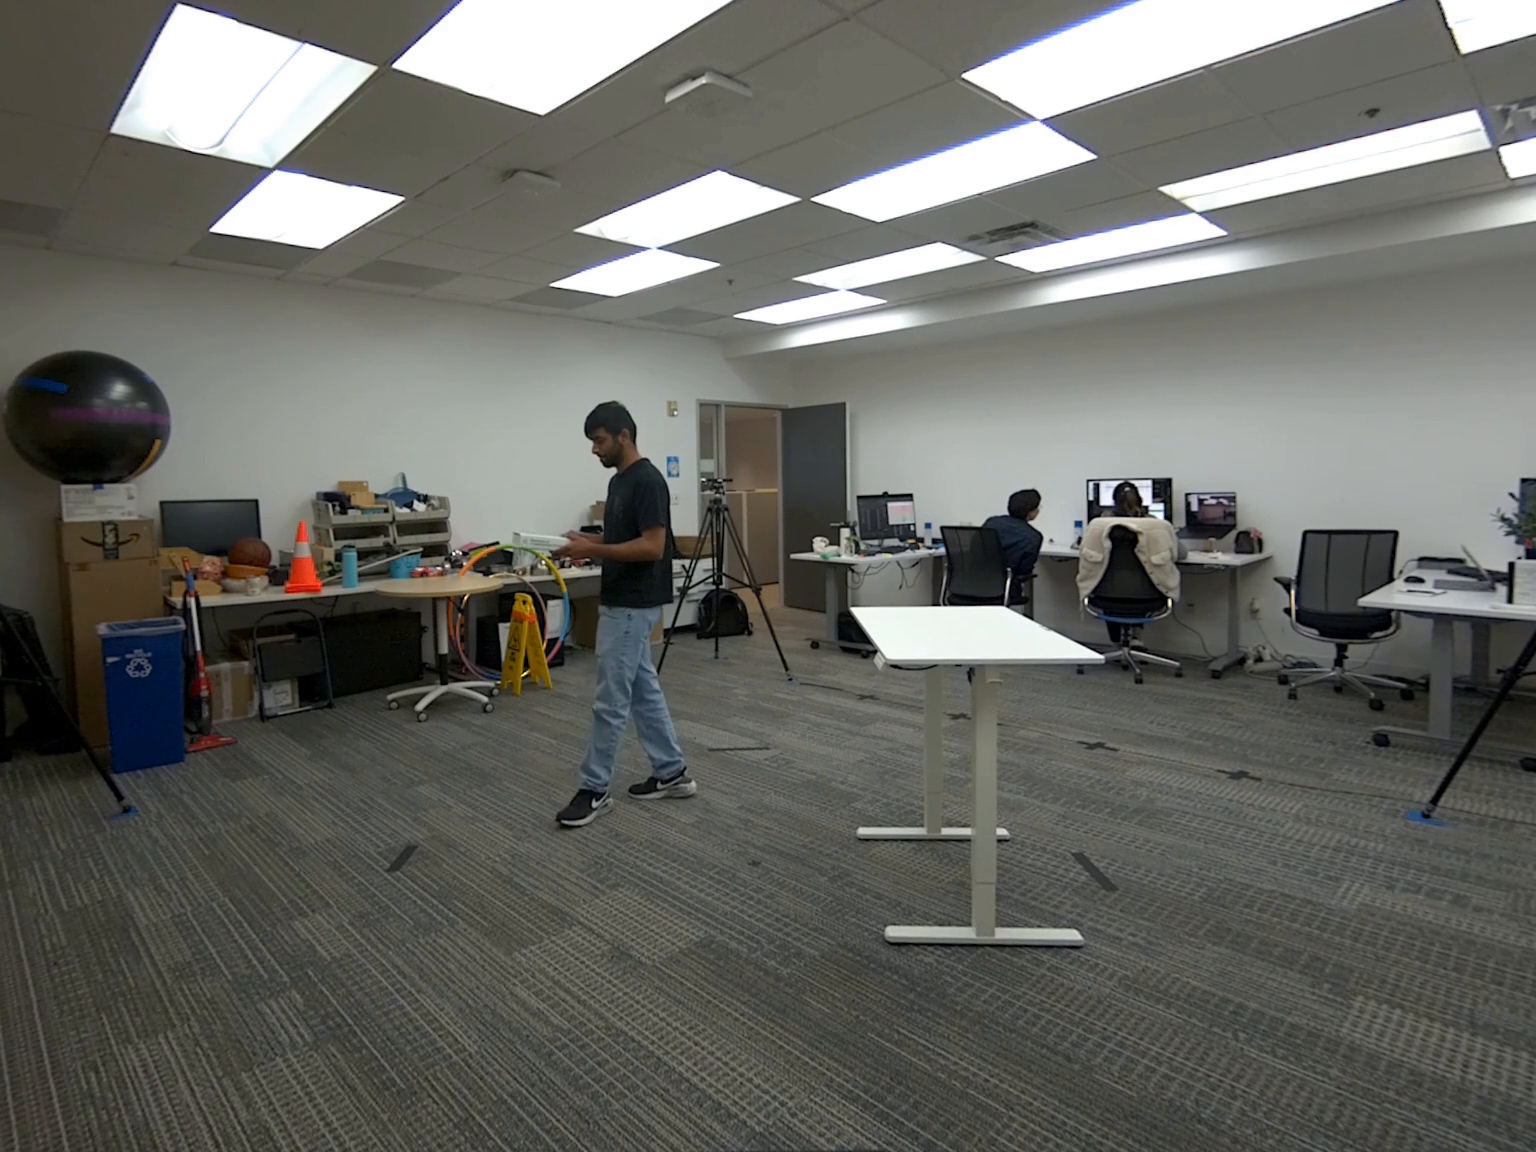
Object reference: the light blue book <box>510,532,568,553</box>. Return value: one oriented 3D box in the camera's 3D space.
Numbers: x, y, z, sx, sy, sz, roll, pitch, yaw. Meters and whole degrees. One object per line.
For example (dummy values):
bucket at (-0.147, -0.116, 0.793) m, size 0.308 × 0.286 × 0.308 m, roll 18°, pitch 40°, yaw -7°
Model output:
light blue book at (-0.903, -0.140, 3.502) m, size 0.259 × 0.059 × 0.193 m, roll 5°, pitch 4°, yaw -9°
